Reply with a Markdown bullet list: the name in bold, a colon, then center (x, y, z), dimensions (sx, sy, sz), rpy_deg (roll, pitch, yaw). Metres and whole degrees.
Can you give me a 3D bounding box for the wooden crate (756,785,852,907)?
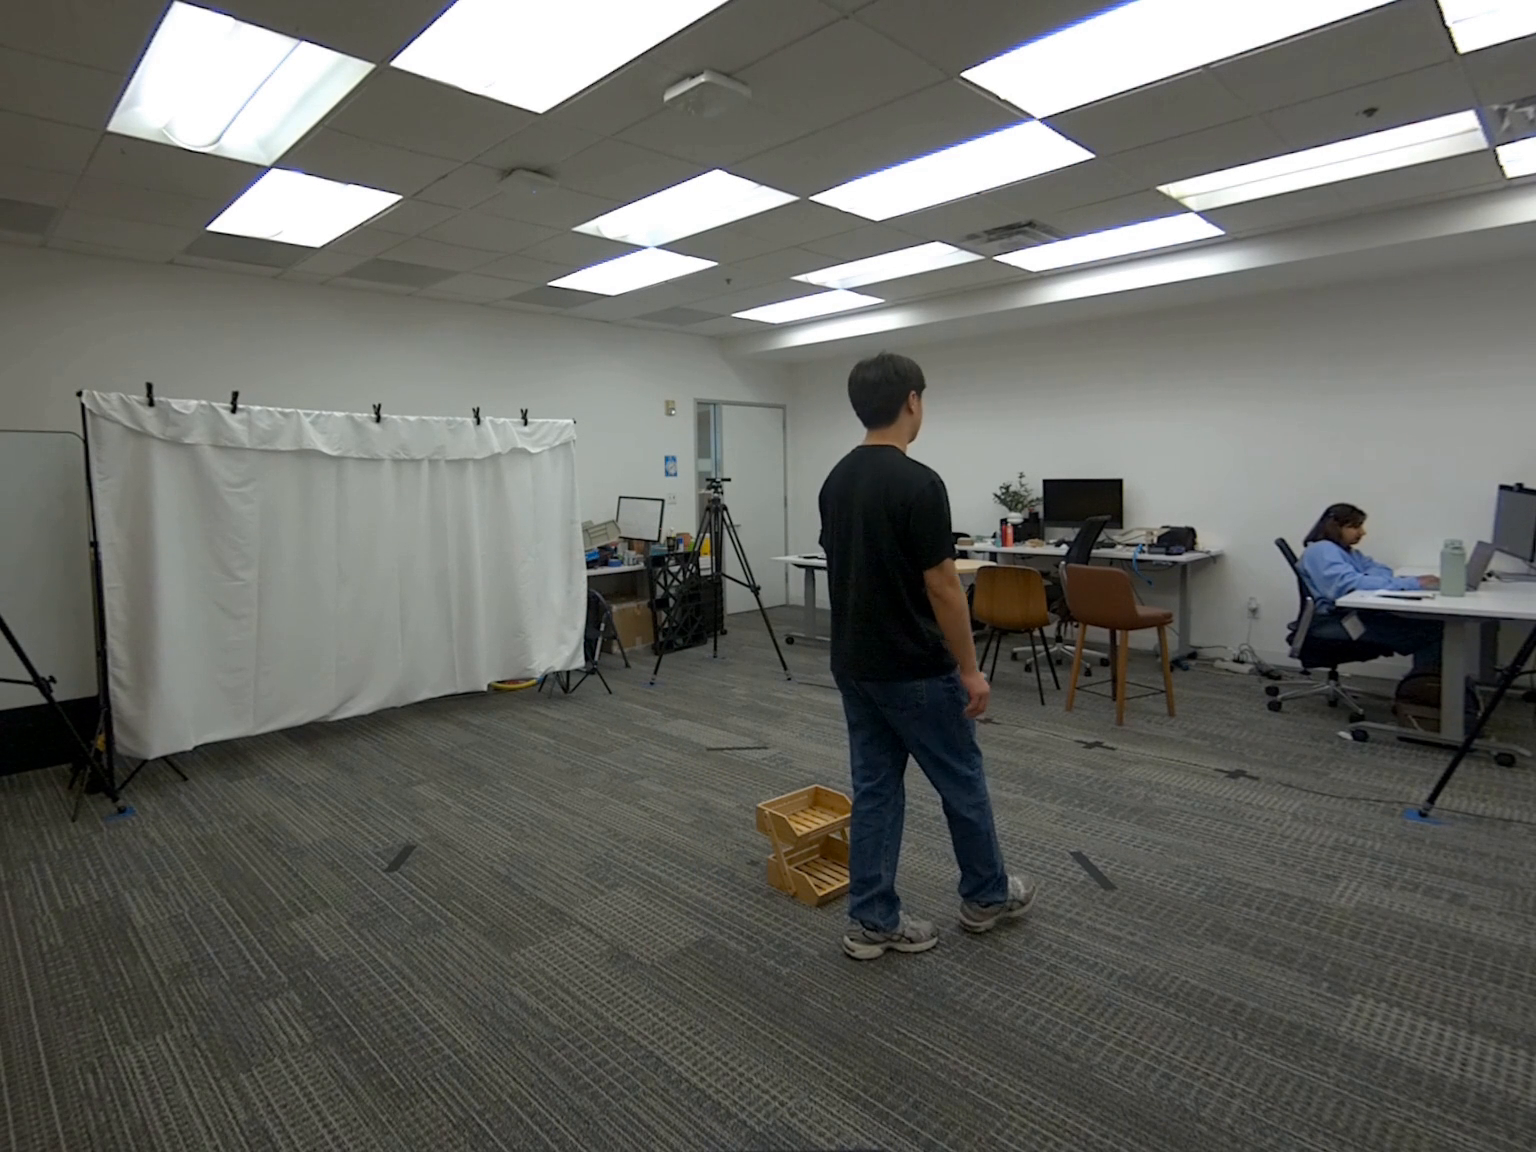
- **wooden crate**: center (0.177, 0.922, 2.960), dimensions (0.316, 0.272, 0.311), rpy_deg (-5, 6, -41)
